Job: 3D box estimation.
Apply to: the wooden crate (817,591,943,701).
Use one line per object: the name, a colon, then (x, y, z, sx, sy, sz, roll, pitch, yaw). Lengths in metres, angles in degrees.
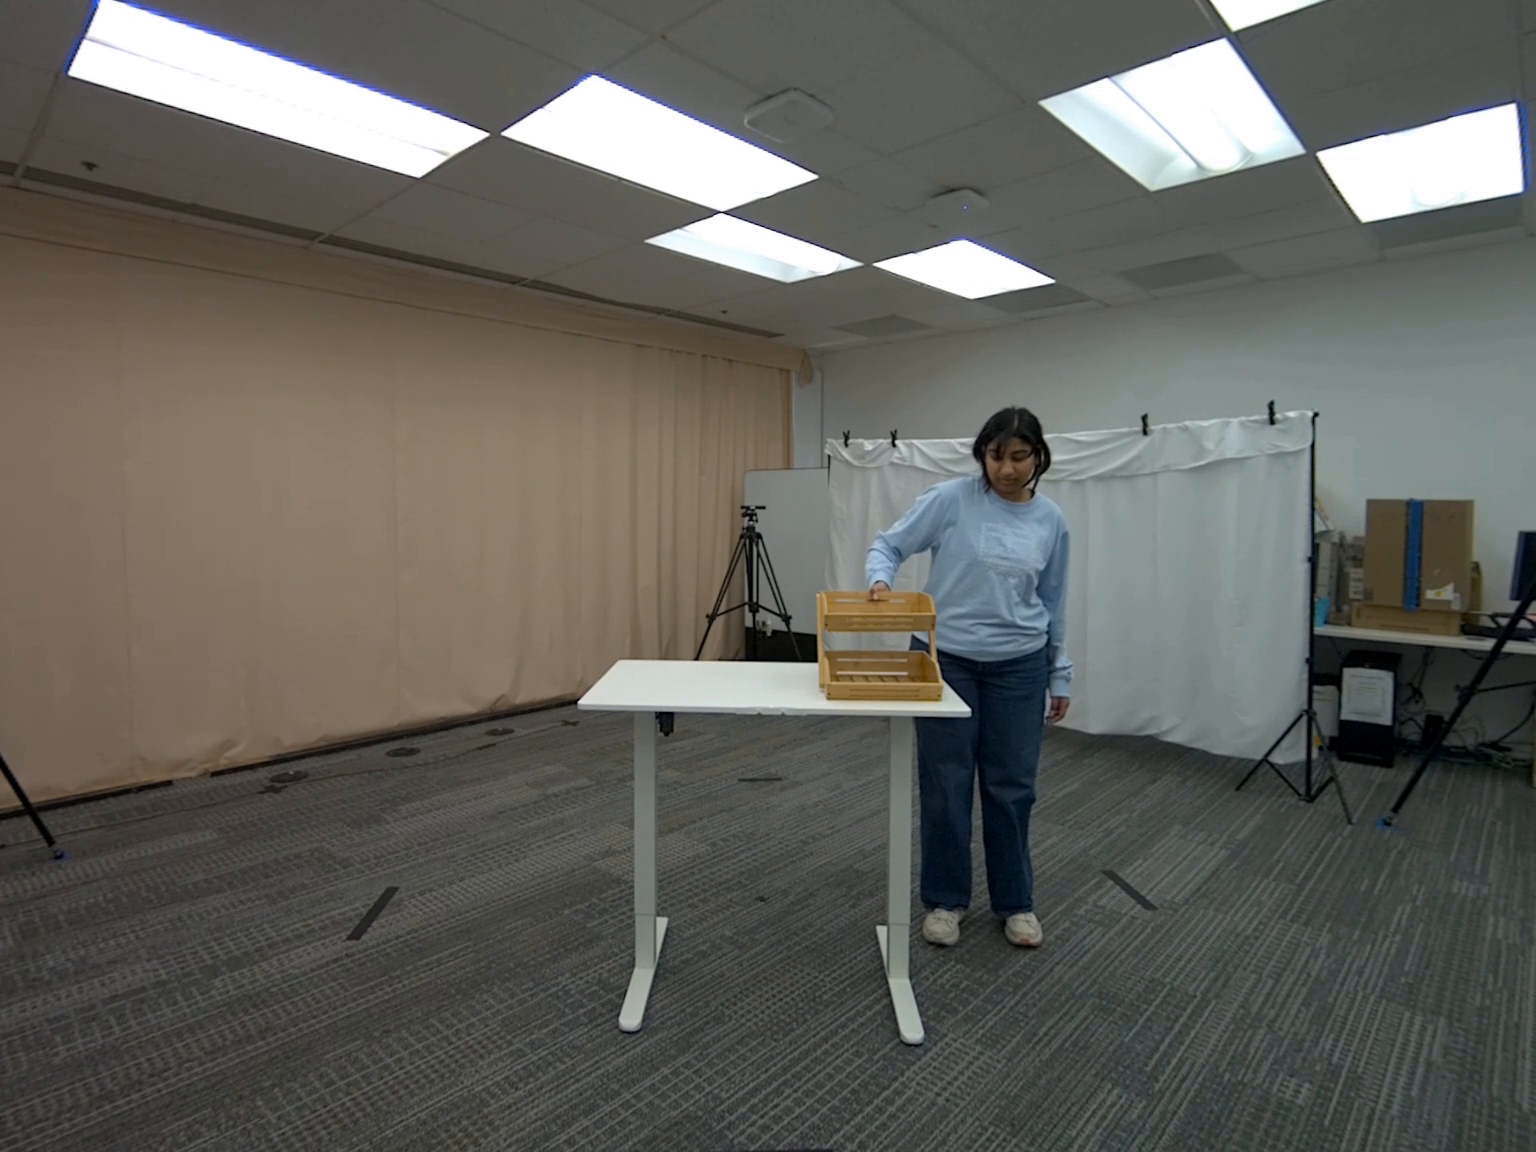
wooden crate: (0.314, 0.185, 2.336, 0.324, 0.273, 0.303, -1, 3, -2)
